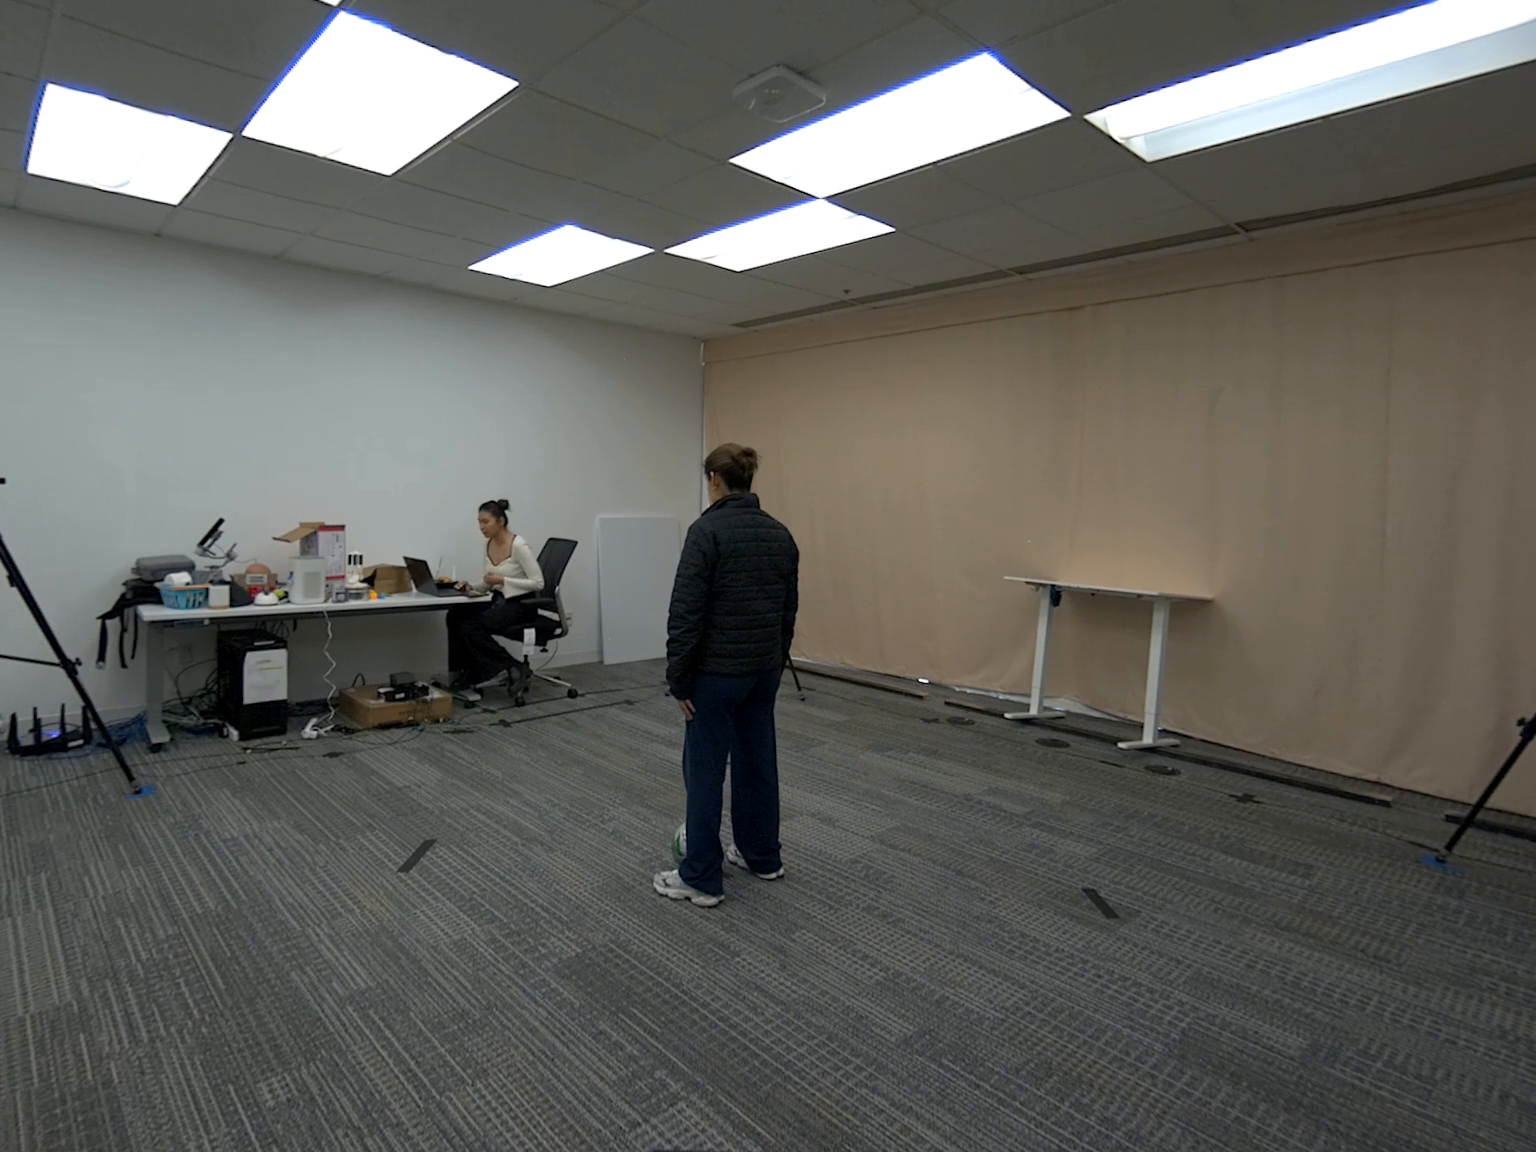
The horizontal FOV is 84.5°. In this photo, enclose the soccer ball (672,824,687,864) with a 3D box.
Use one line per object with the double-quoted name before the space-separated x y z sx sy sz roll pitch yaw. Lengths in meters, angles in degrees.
"soccer ball" -0.263 1.004 3.139 0.187 0.187 0.188 1 4 -1
